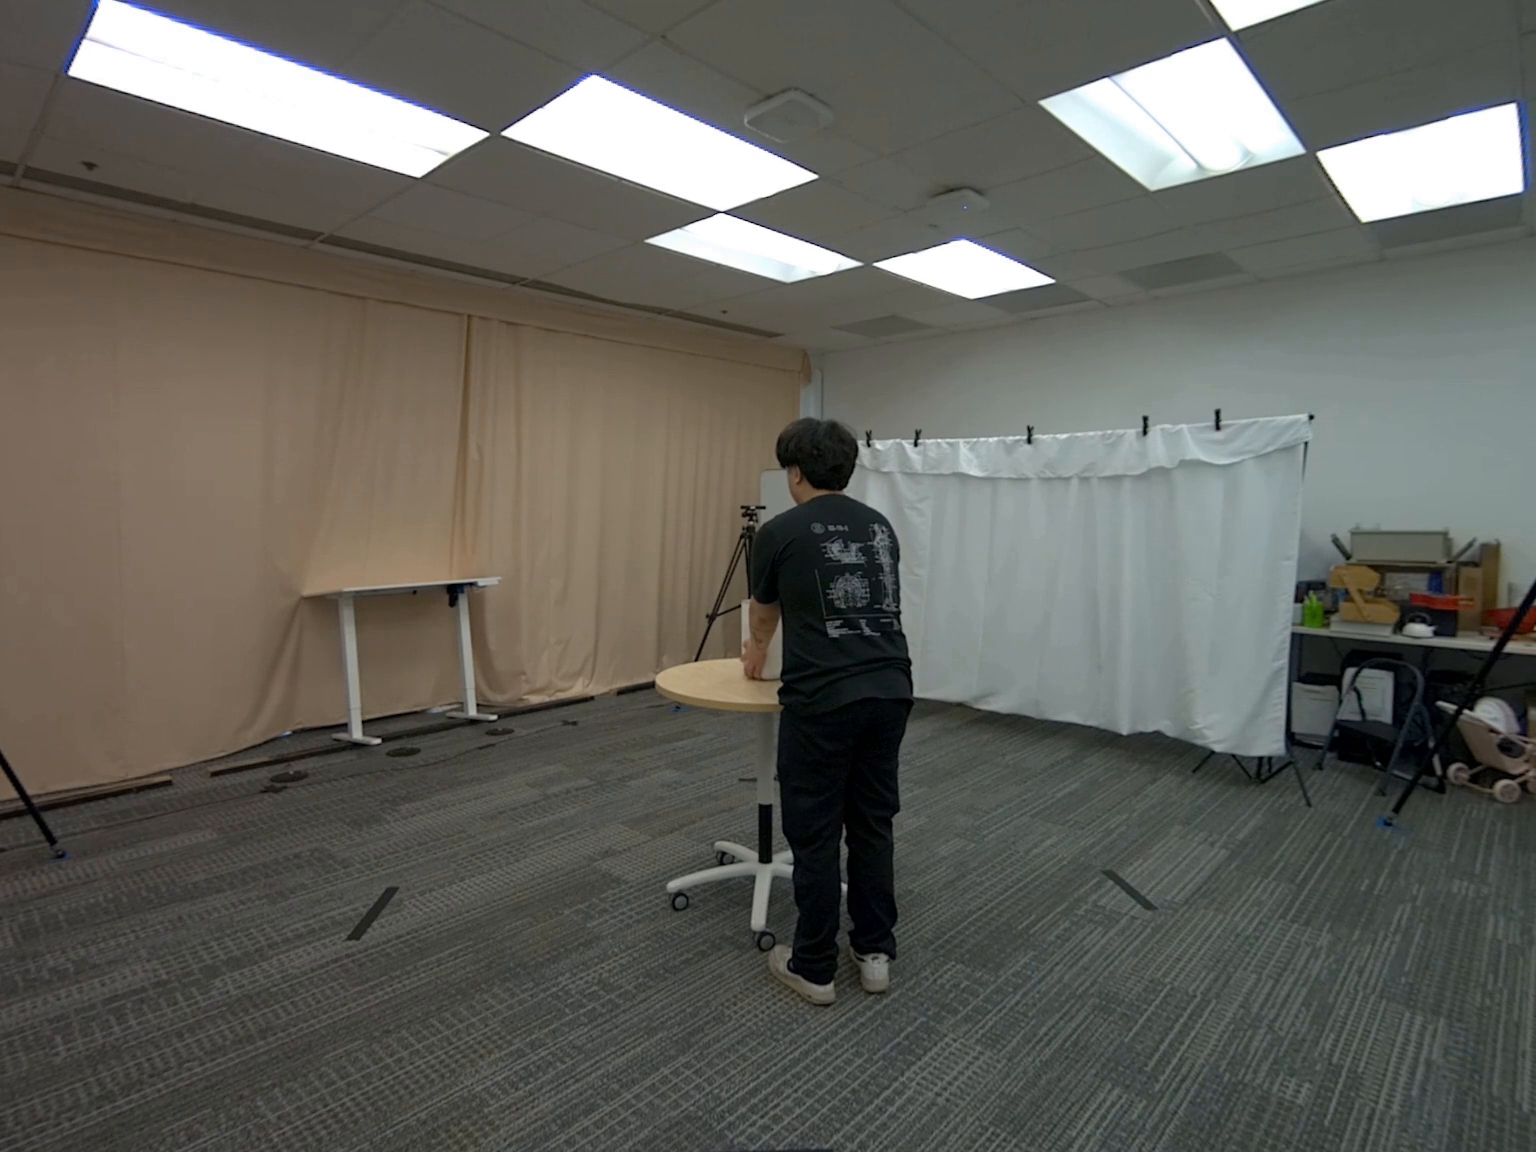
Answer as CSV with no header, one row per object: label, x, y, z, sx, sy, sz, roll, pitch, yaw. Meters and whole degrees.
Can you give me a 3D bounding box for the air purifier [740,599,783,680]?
air purifier,0.013,0.214,2.947,0.166,0.265,0.177,-2,5,-41
